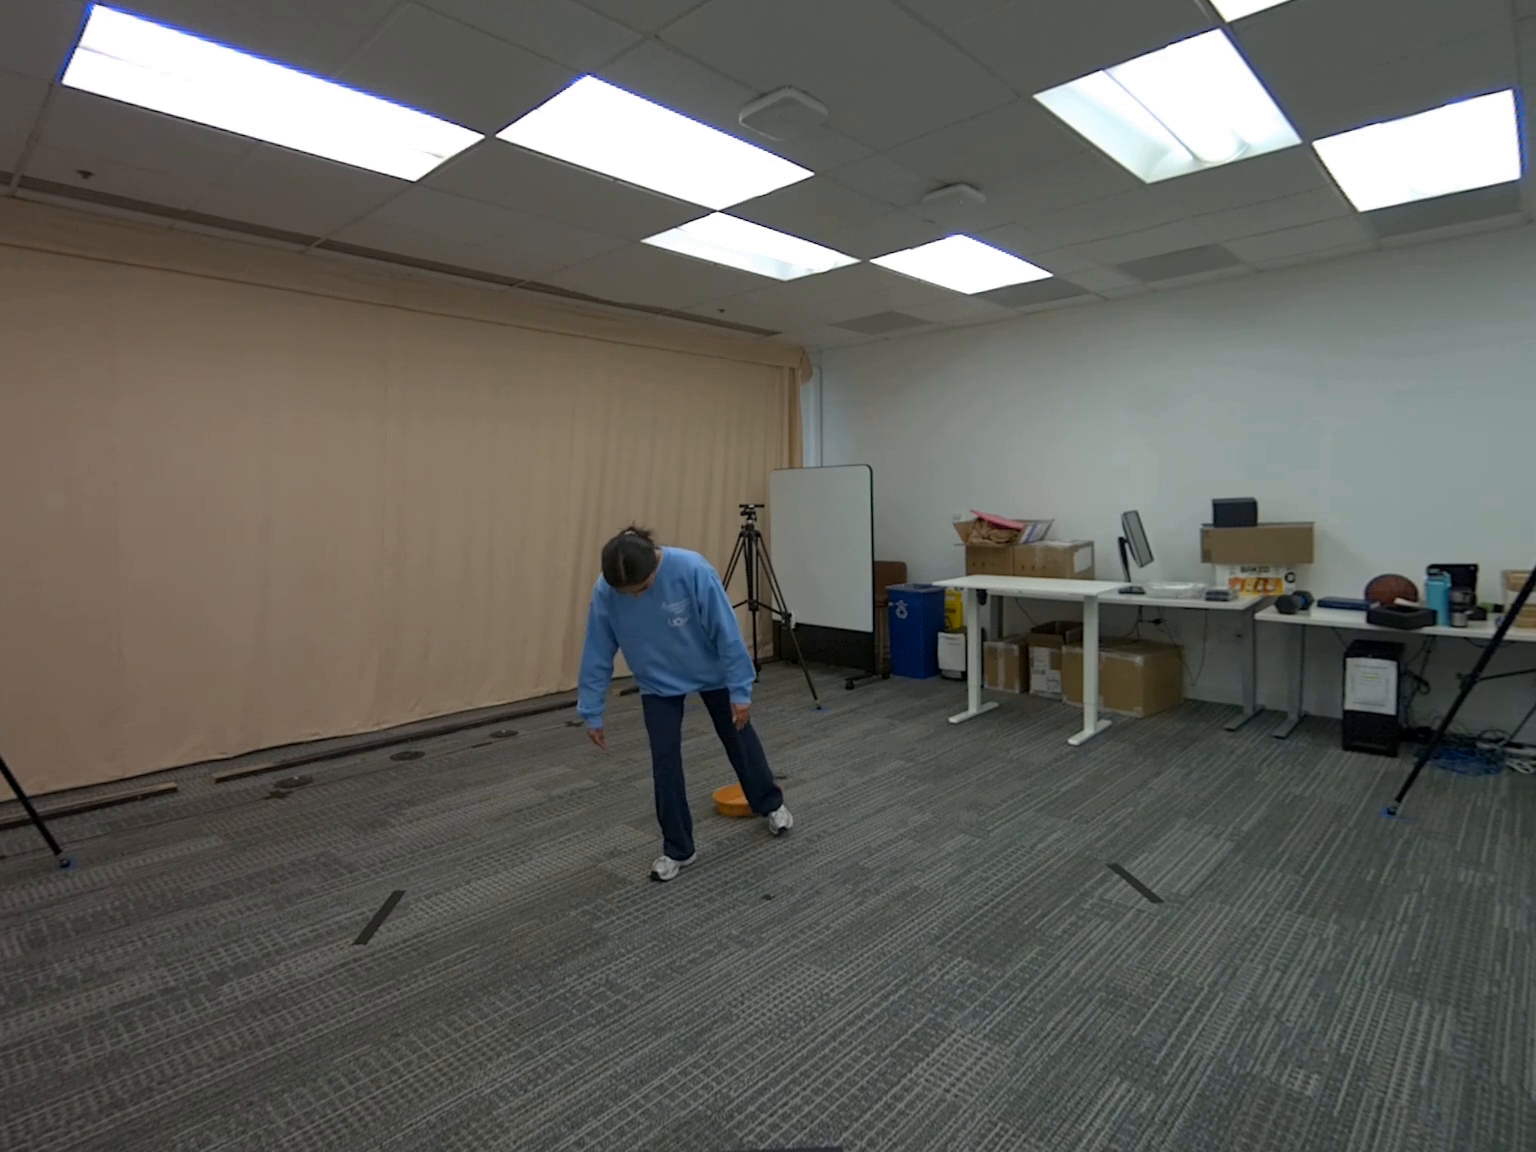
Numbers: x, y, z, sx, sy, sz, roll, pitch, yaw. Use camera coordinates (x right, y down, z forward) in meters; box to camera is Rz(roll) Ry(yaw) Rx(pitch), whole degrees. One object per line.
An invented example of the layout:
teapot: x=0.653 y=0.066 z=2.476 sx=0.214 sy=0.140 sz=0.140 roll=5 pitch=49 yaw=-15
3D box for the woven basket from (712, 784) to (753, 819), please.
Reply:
woven basket: x=-0.092 y=1.024 z=3.868 sx=0.341 sy=0.073 sz=0.260 roll=-4 pitch=5 yaw=-33
